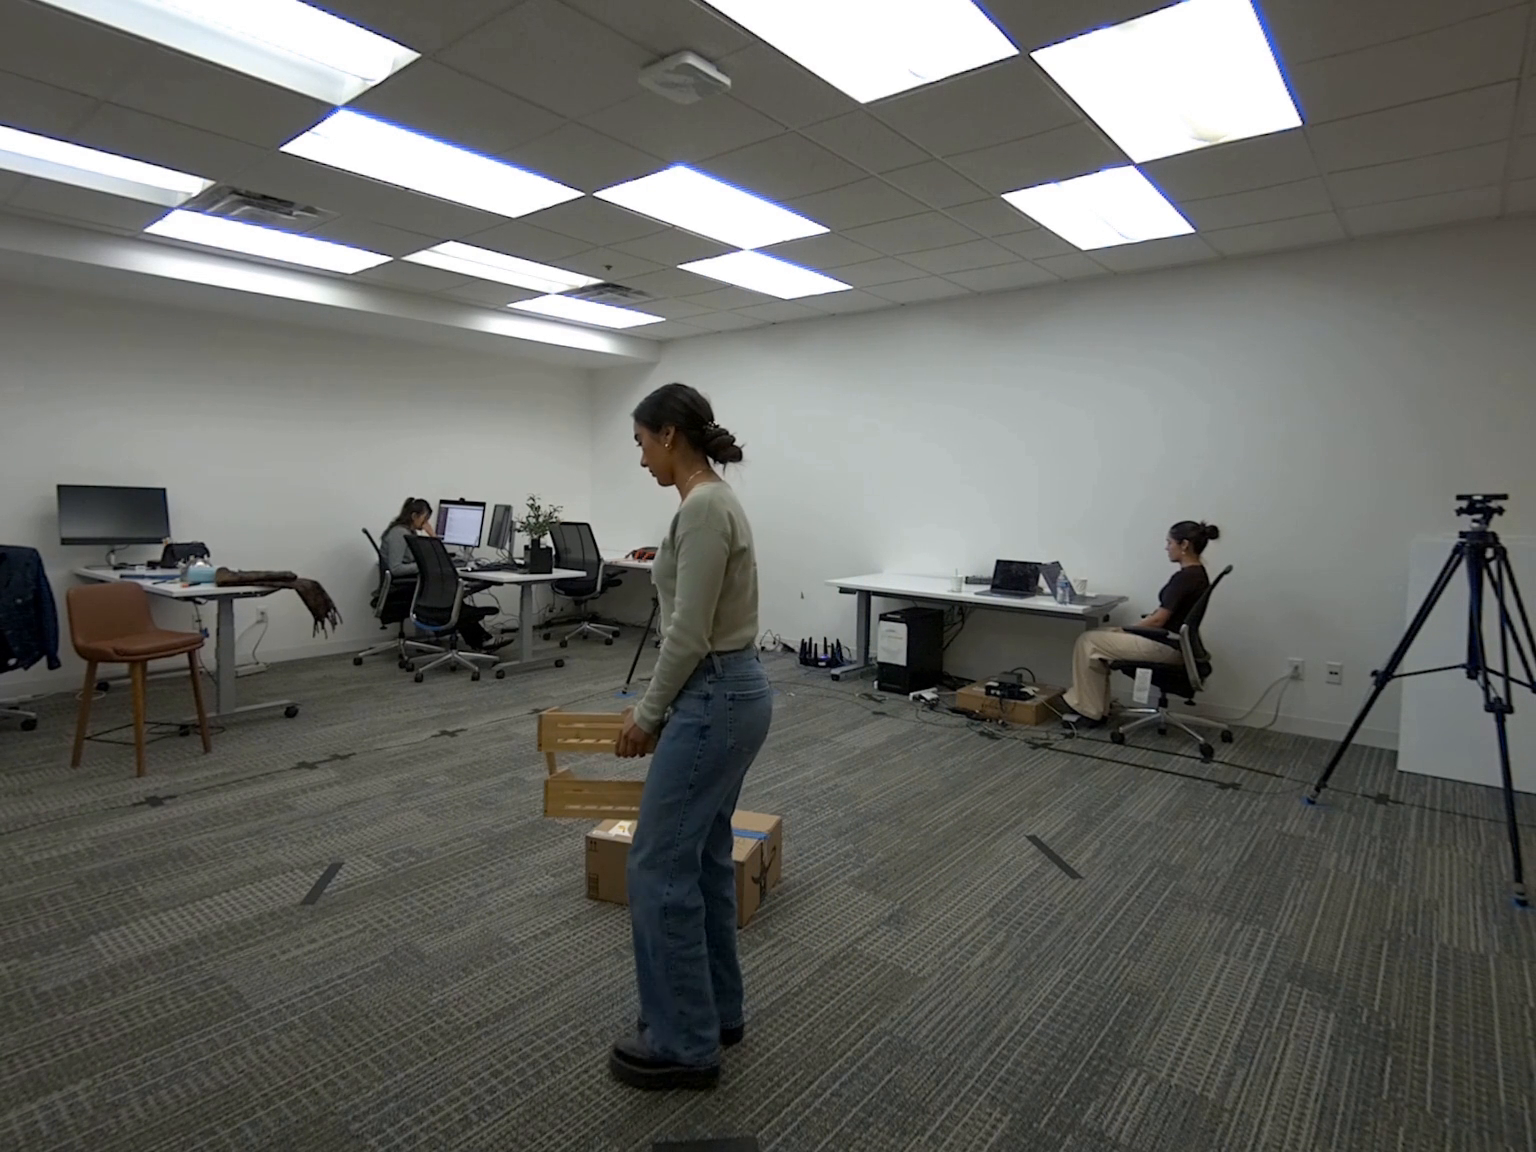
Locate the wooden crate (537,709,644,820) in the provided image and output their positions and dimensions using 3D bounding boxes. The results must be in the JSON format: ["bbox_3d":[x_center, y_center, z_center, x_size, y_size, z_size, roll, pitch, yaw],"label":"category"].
[{"bbox_3d":[-0.423,0.458,2.226,0.325,0.274,0.300,0,-3,2],"label":"wooden crate"}]
